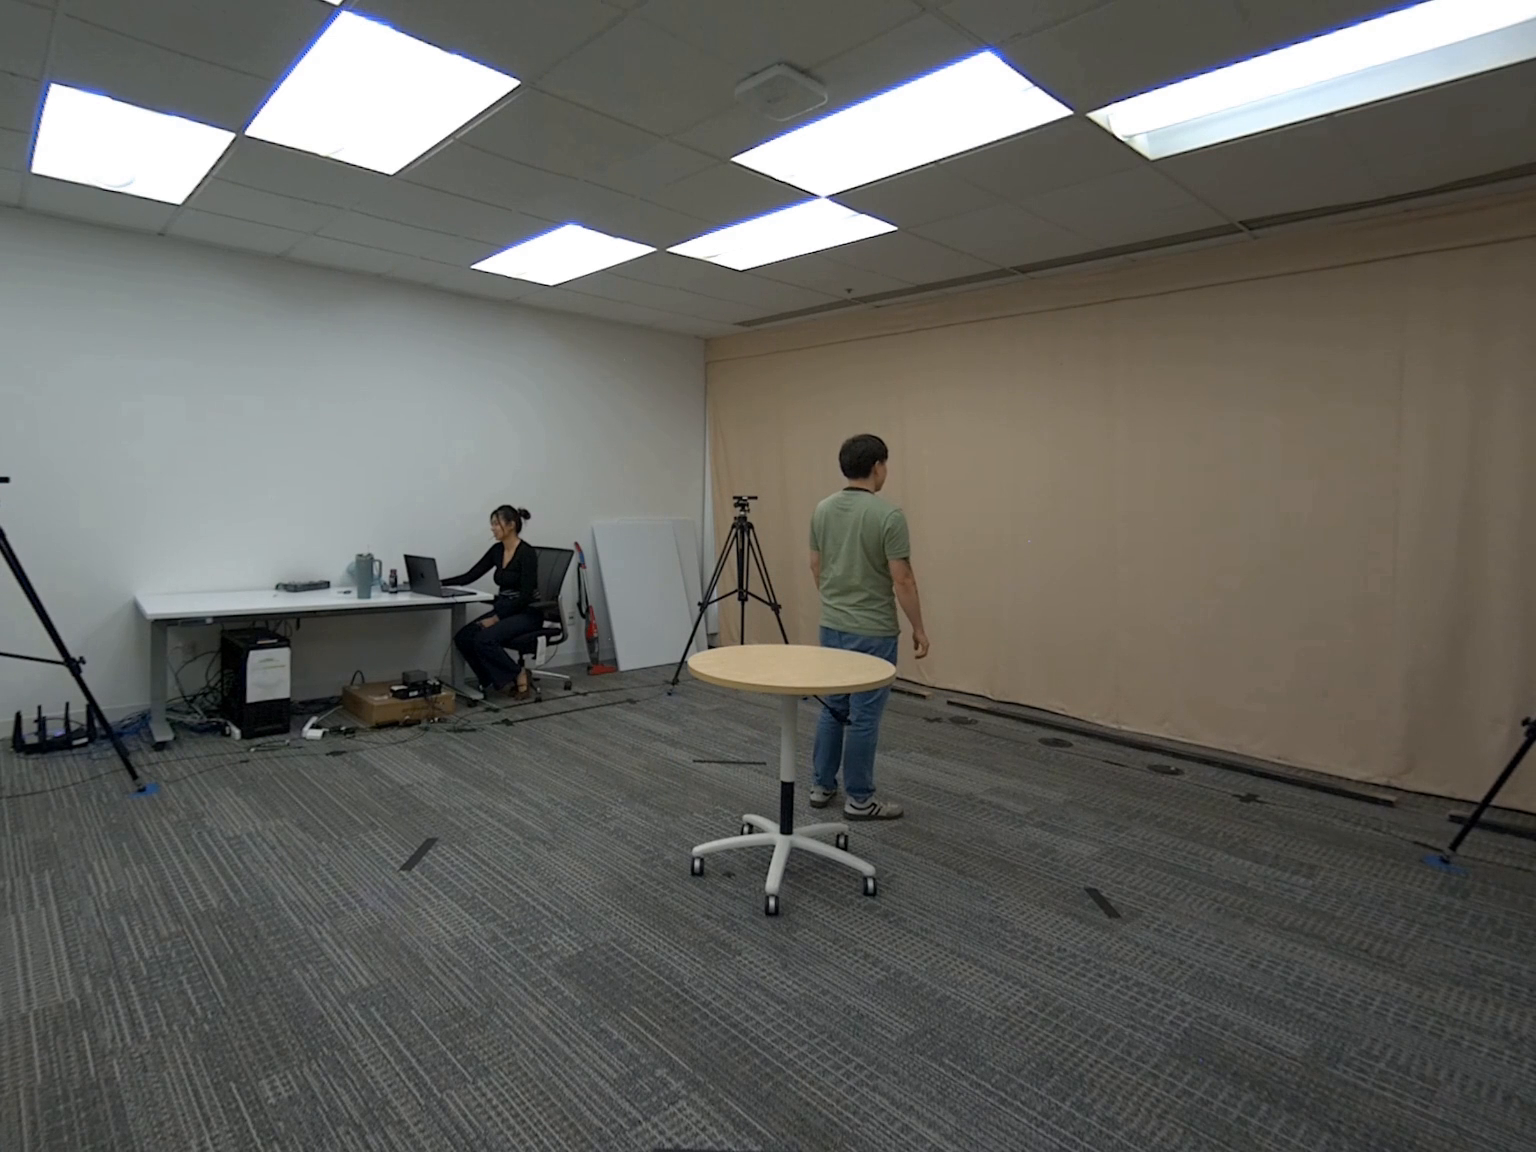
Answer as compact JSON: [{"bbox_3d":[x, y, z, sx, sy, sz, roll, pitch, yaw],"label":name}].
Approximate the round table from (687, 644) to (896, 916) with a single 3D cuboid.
[{"bbox_3d":[0.068,0.716,3.136,0.763,0.792,0.766,1,4,-1],"label":"round table"}]
